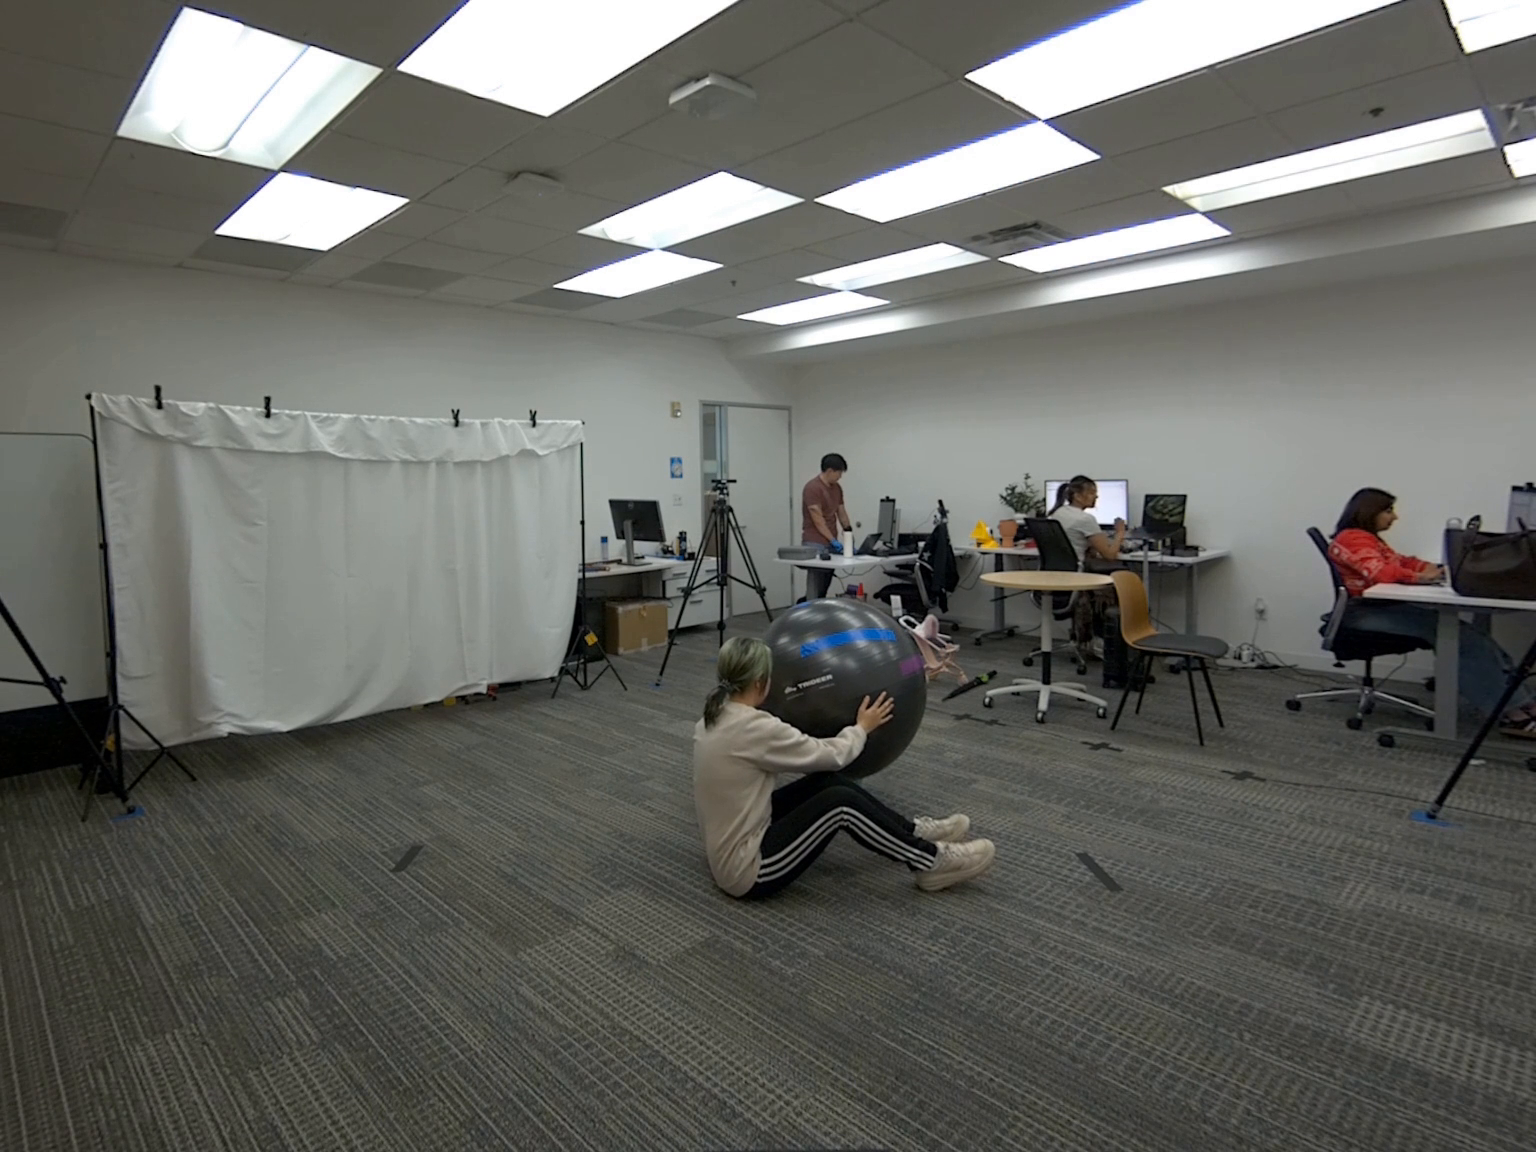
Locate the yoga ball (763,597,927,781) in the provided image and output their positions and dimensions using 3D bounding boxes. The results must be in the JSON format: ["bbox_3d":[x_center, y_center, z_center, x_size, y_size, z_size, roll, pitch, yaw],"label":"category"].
[{"bbox_3d":[0.280,0.480,3.610,0.757,0.755,0.762,-1,5,-2],"label":"yoga ball"}]
